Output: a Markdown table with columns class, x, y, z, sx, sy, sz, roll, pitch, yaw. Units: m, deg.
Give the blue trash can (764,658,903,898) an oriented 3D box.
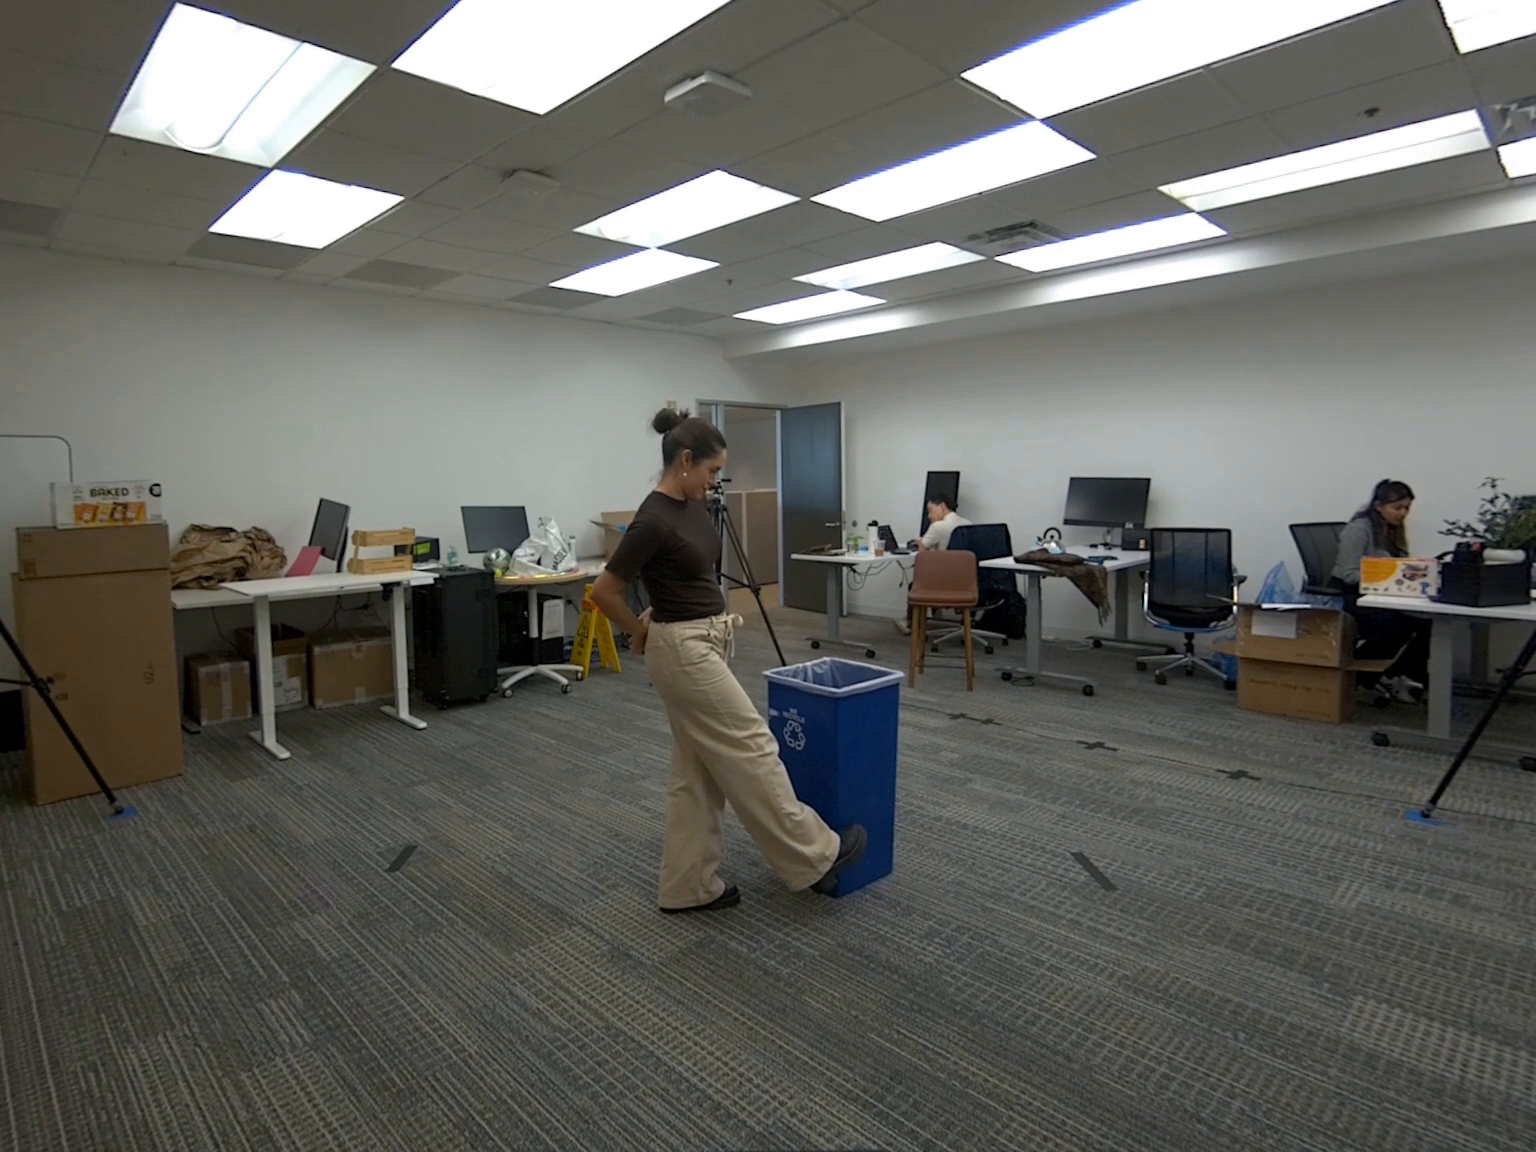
| class | x | y | z | sx | sy | sz | roll | pitch | yaw |
| --- | --- | --- | --- | --- | --- | --- | --- | --- | --- |
| blue trash can | 0.232 | 0.691 | 3.007 | 0.364 | 0.711 | 0.390 | -5 | 6 | -42 |
